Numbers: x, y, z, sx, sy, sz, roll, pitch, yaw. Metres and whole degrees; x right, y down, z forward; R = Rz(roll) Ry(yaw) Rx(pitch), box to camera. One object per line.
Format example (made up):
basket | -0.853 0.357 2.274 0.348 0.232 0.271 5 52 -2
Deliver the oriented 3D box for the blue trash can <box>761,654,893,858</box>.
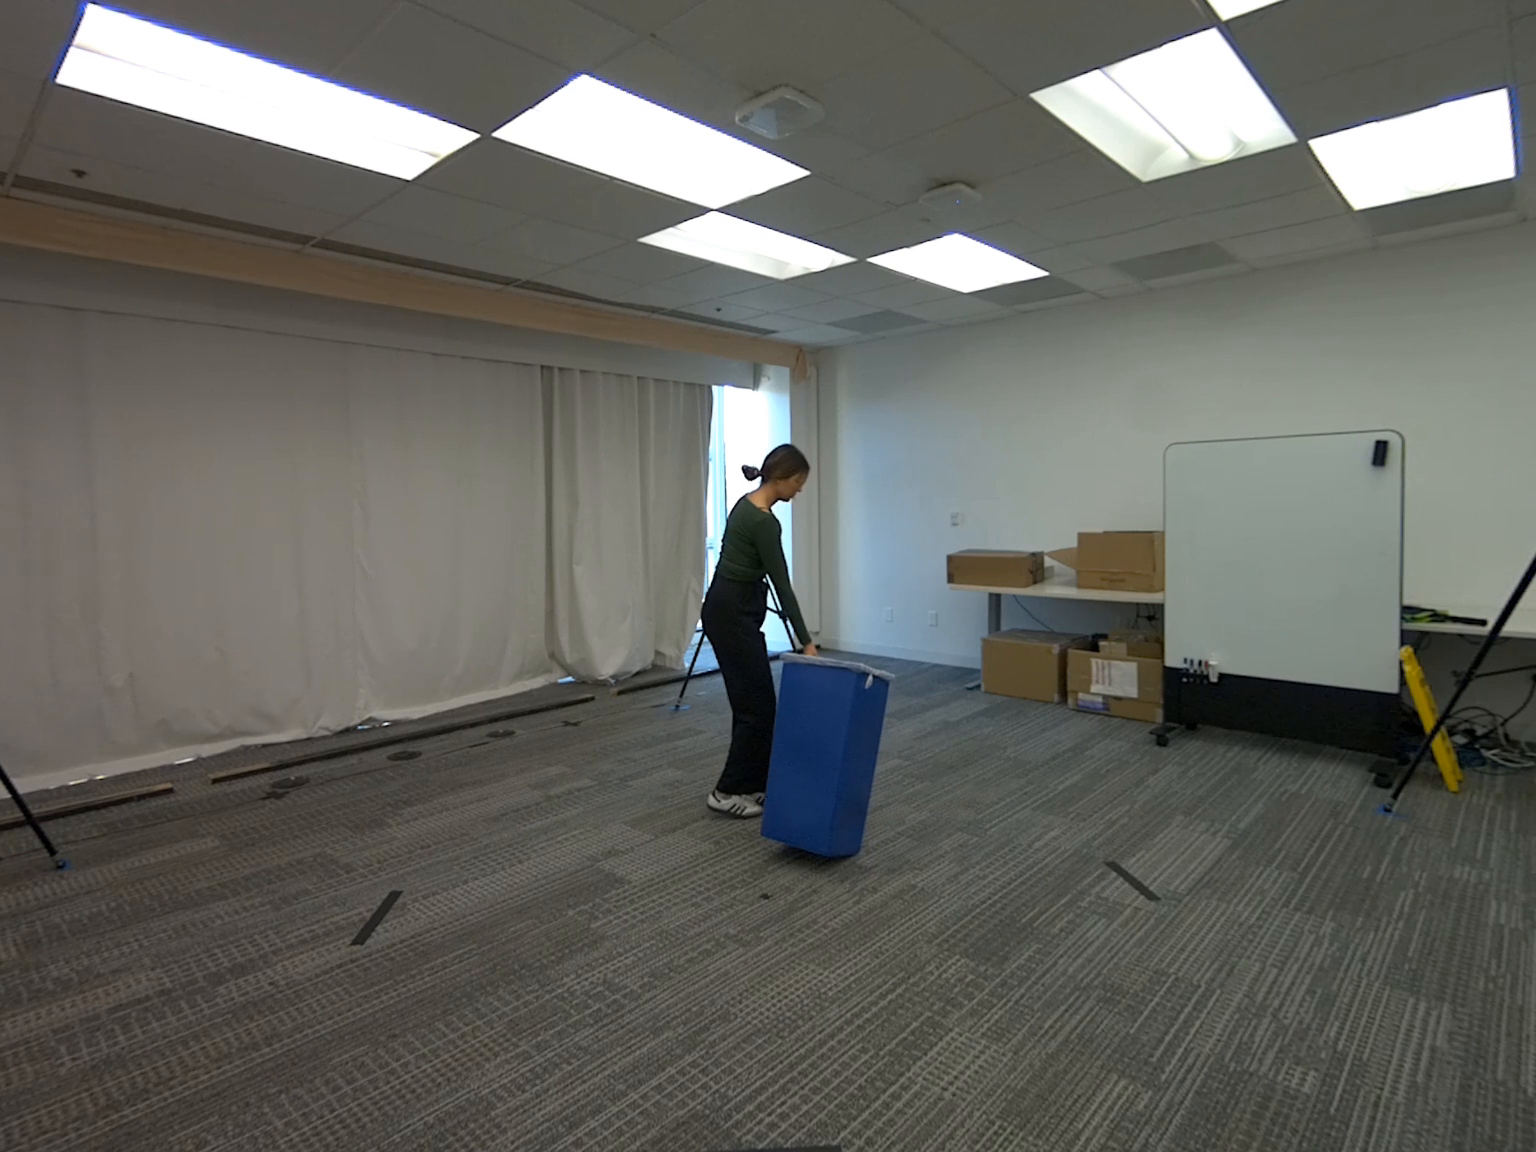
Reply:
blue trash can | 0.231 0.707 3.361 0.390 0.717 0.361 3 -13 32
